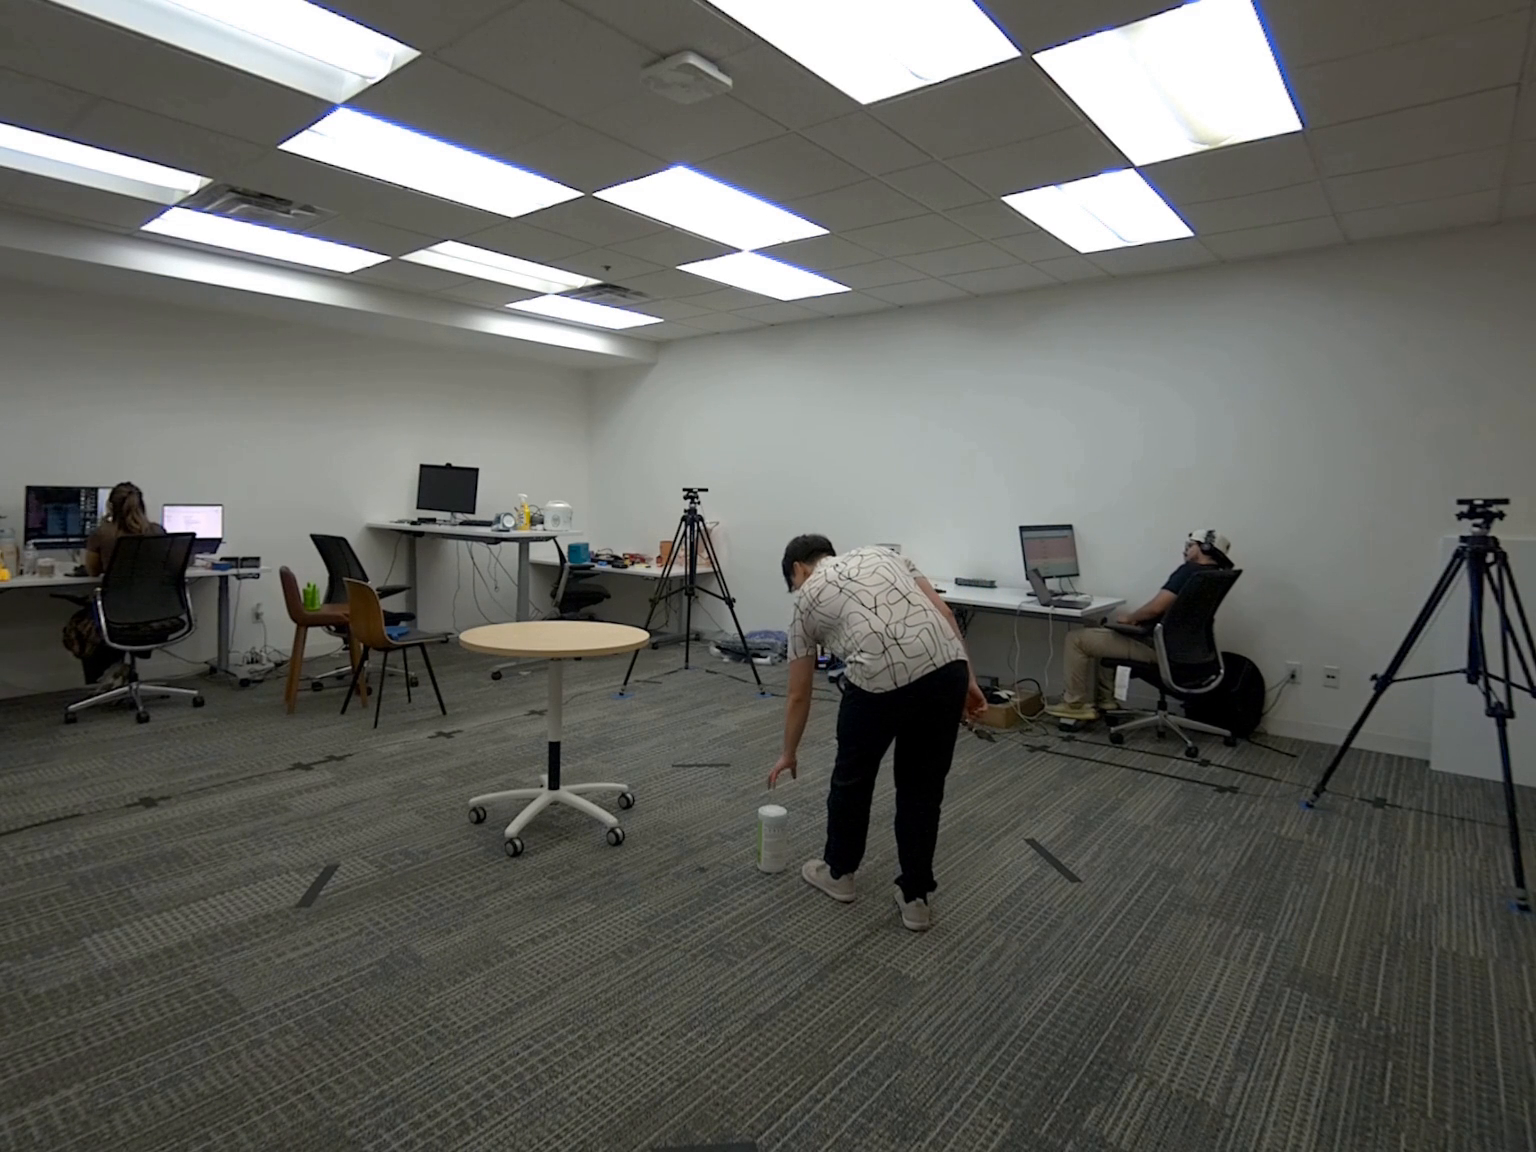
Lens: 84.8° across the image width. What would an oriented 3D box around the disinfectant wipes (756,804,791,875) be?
[{"bbox_3d":[0.011,0.966,3.131,0.118,0.217,0.118,0,4,-2],"label":"disinfectant wipes"}]
